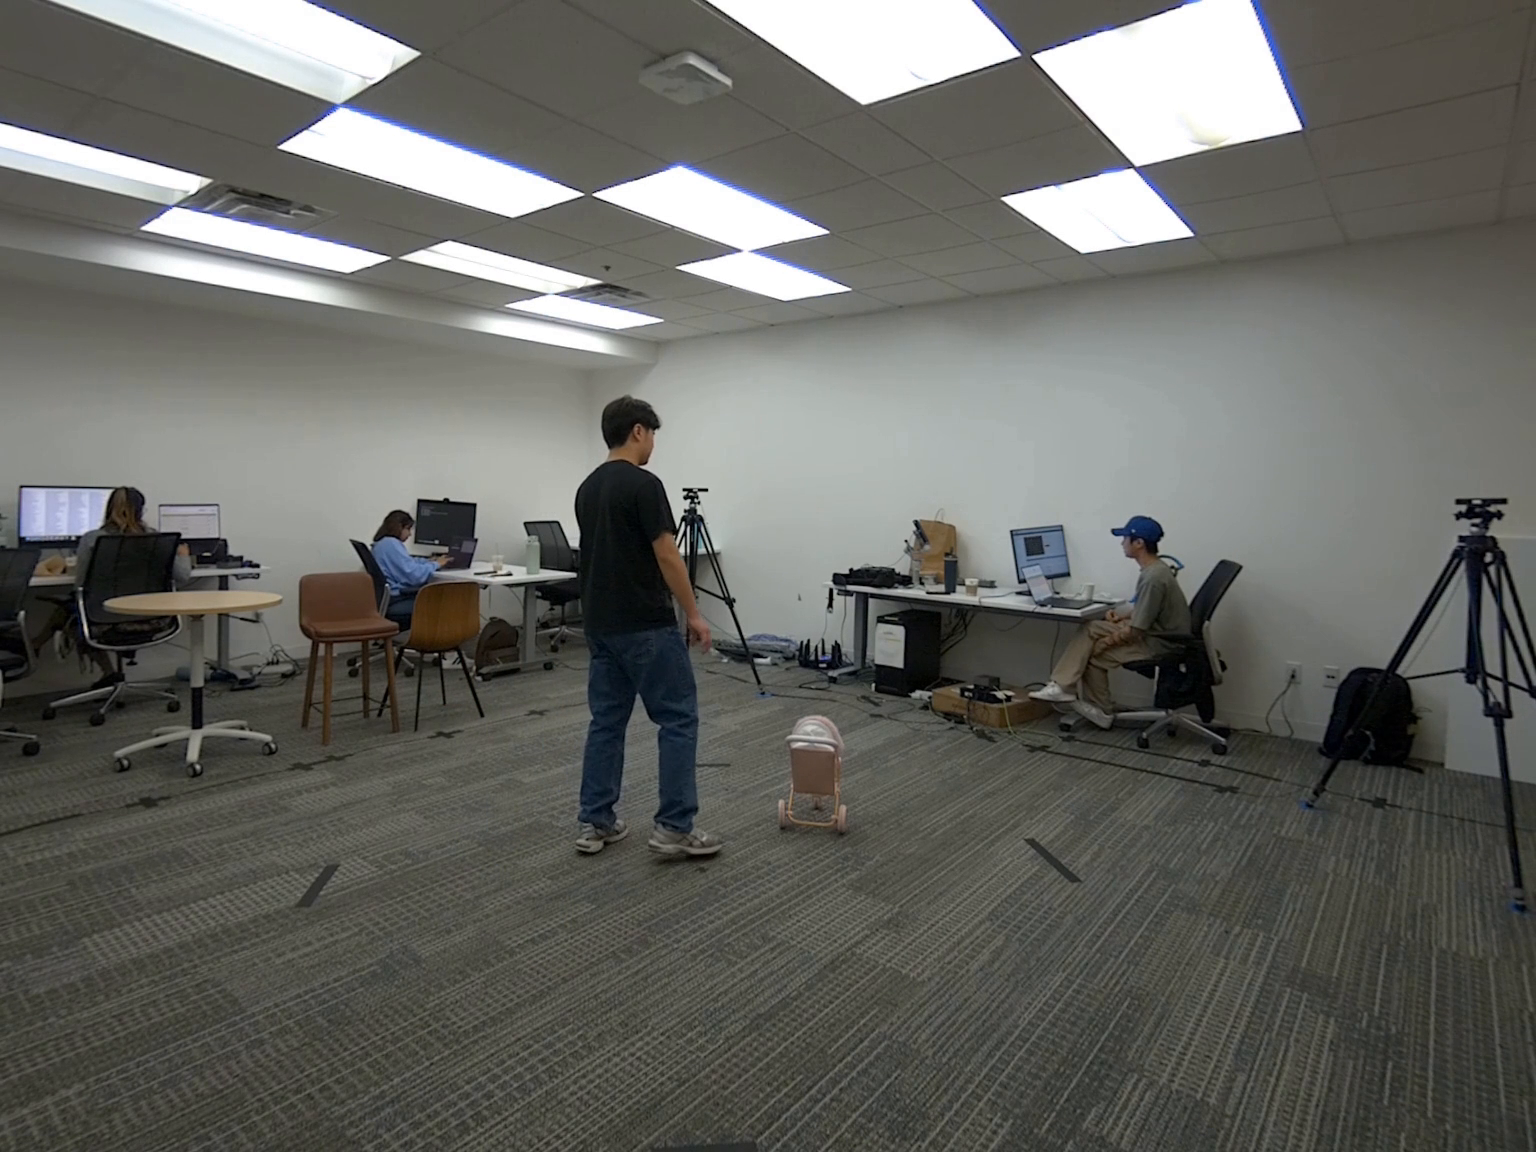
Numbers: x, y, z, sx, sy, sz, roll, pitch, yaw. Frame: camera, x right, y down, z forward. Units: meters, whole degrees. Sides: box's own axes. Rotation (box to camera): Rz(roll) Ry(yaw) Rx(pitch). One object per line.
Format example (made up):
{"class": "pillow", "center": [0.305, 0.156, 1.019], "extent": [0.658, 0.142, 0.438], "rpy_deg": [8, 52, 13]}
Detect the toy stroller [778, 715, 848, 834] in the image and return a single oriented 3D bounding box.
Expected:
{"class": "toy stroller", "center": [0.188, 0.816, 3.551], "extent": [0.286, 0.525, 0.343], "rpy_deg": [3, 20, 12]}
